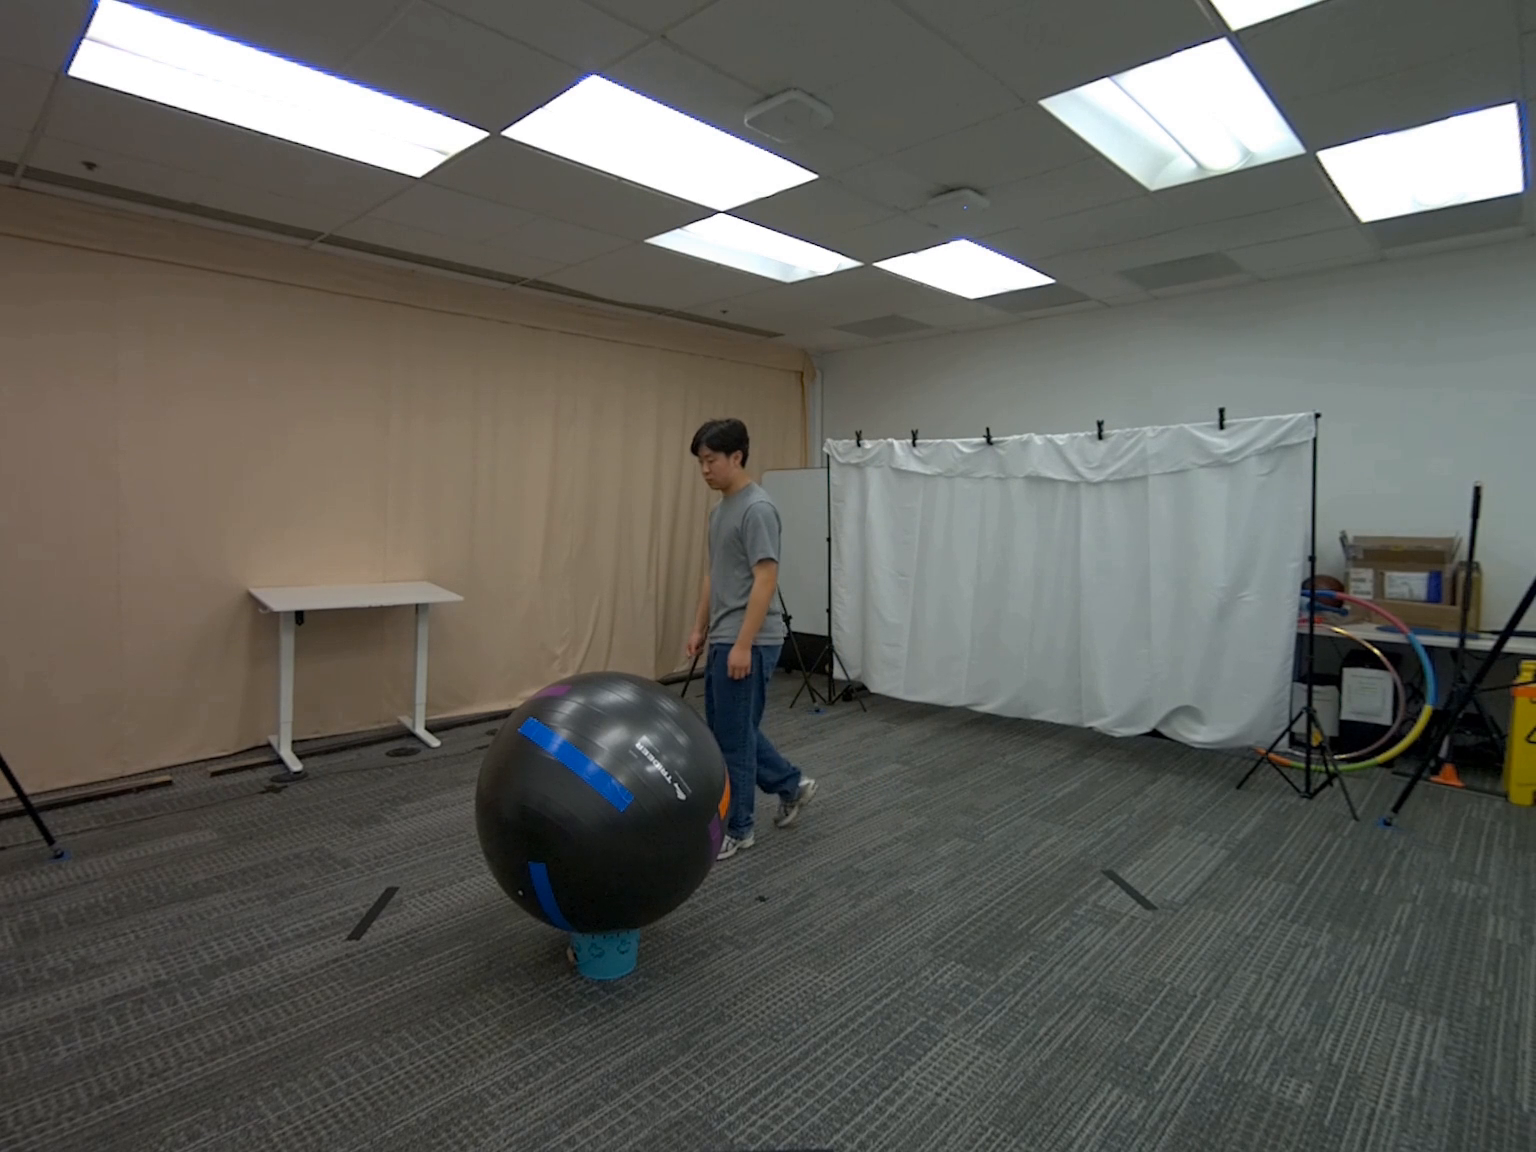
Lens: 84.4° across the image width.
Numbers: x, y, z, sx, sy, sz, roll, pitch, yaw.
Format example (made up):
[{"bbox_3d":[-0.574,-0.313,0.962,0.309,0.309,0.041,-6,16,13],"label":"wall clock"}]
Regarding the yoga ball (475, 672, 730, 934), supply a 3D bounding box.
[{"bbox_3d":[-0.499,0.671,2.547,0.757,0.756,0.760,0,4,-2],"label":"yoga ball"}]
